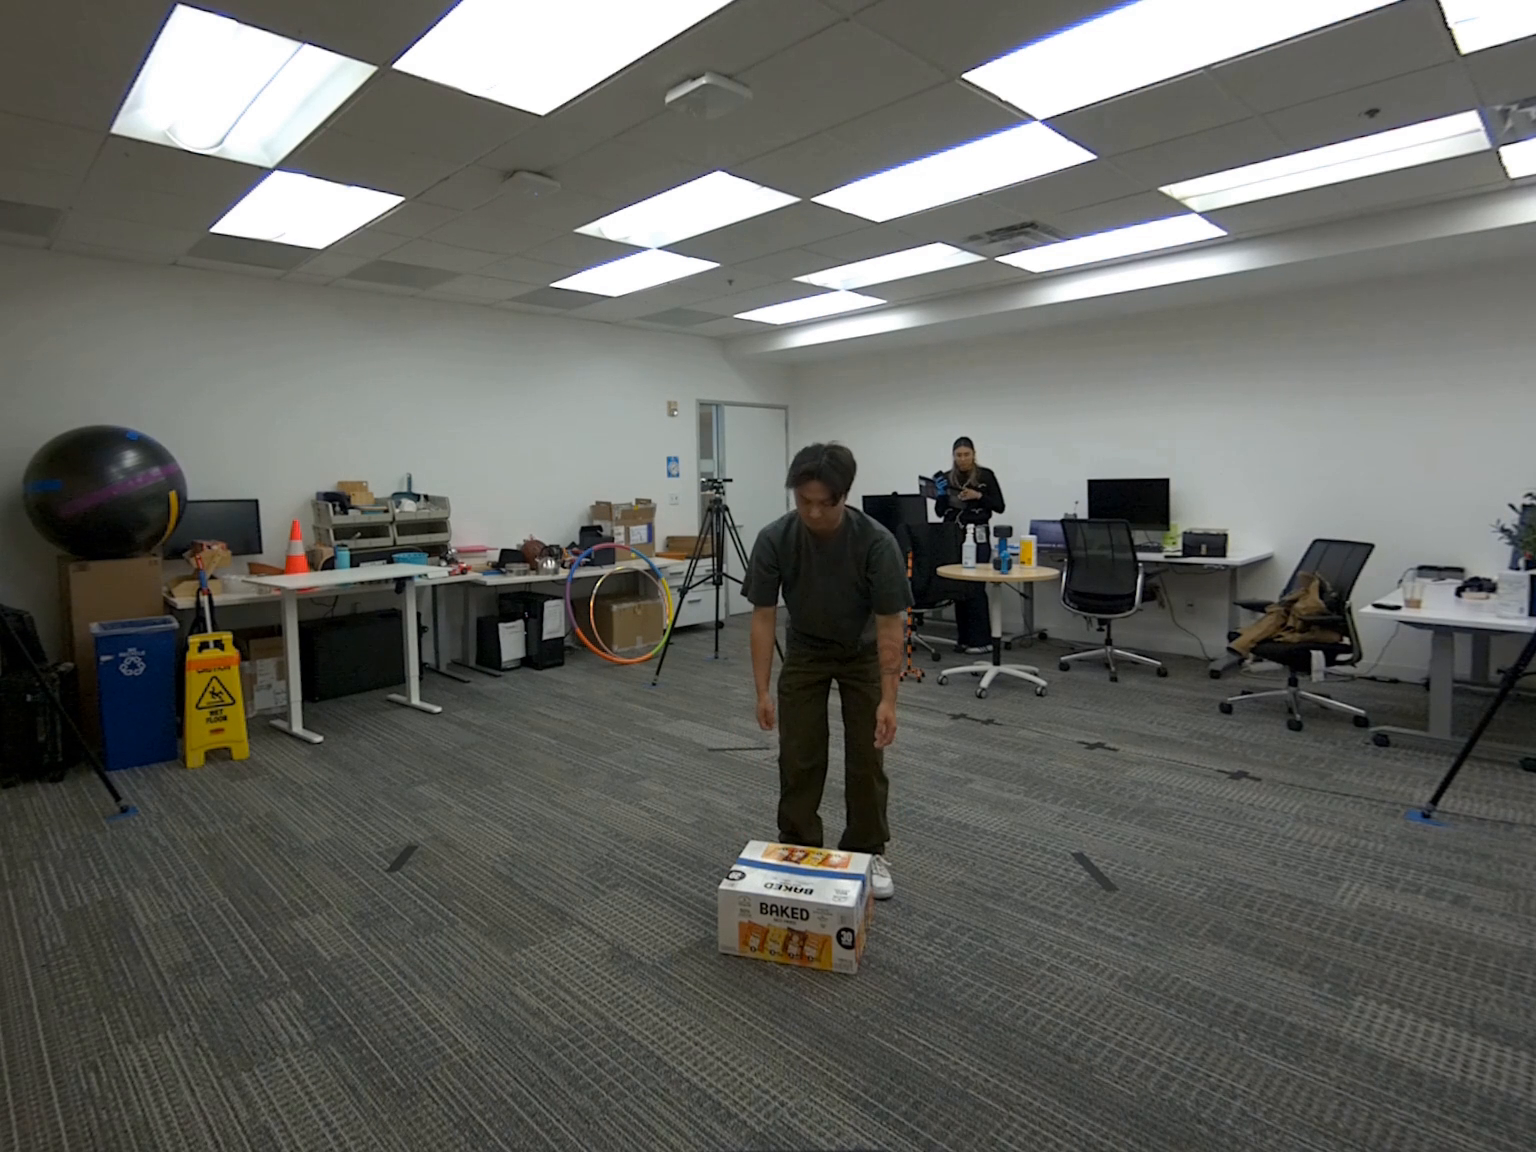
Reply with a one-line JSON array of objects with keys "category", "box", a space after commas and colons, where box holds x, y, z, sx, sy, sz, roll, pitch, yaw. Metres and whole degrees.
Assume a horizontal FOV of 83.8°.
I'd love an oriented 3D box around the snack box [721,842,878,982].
[{"category": "snack box", "box": [0.104, 1.001, 2.604, 0.412, 0.205, 0.336, 1, 6, 17]}]
